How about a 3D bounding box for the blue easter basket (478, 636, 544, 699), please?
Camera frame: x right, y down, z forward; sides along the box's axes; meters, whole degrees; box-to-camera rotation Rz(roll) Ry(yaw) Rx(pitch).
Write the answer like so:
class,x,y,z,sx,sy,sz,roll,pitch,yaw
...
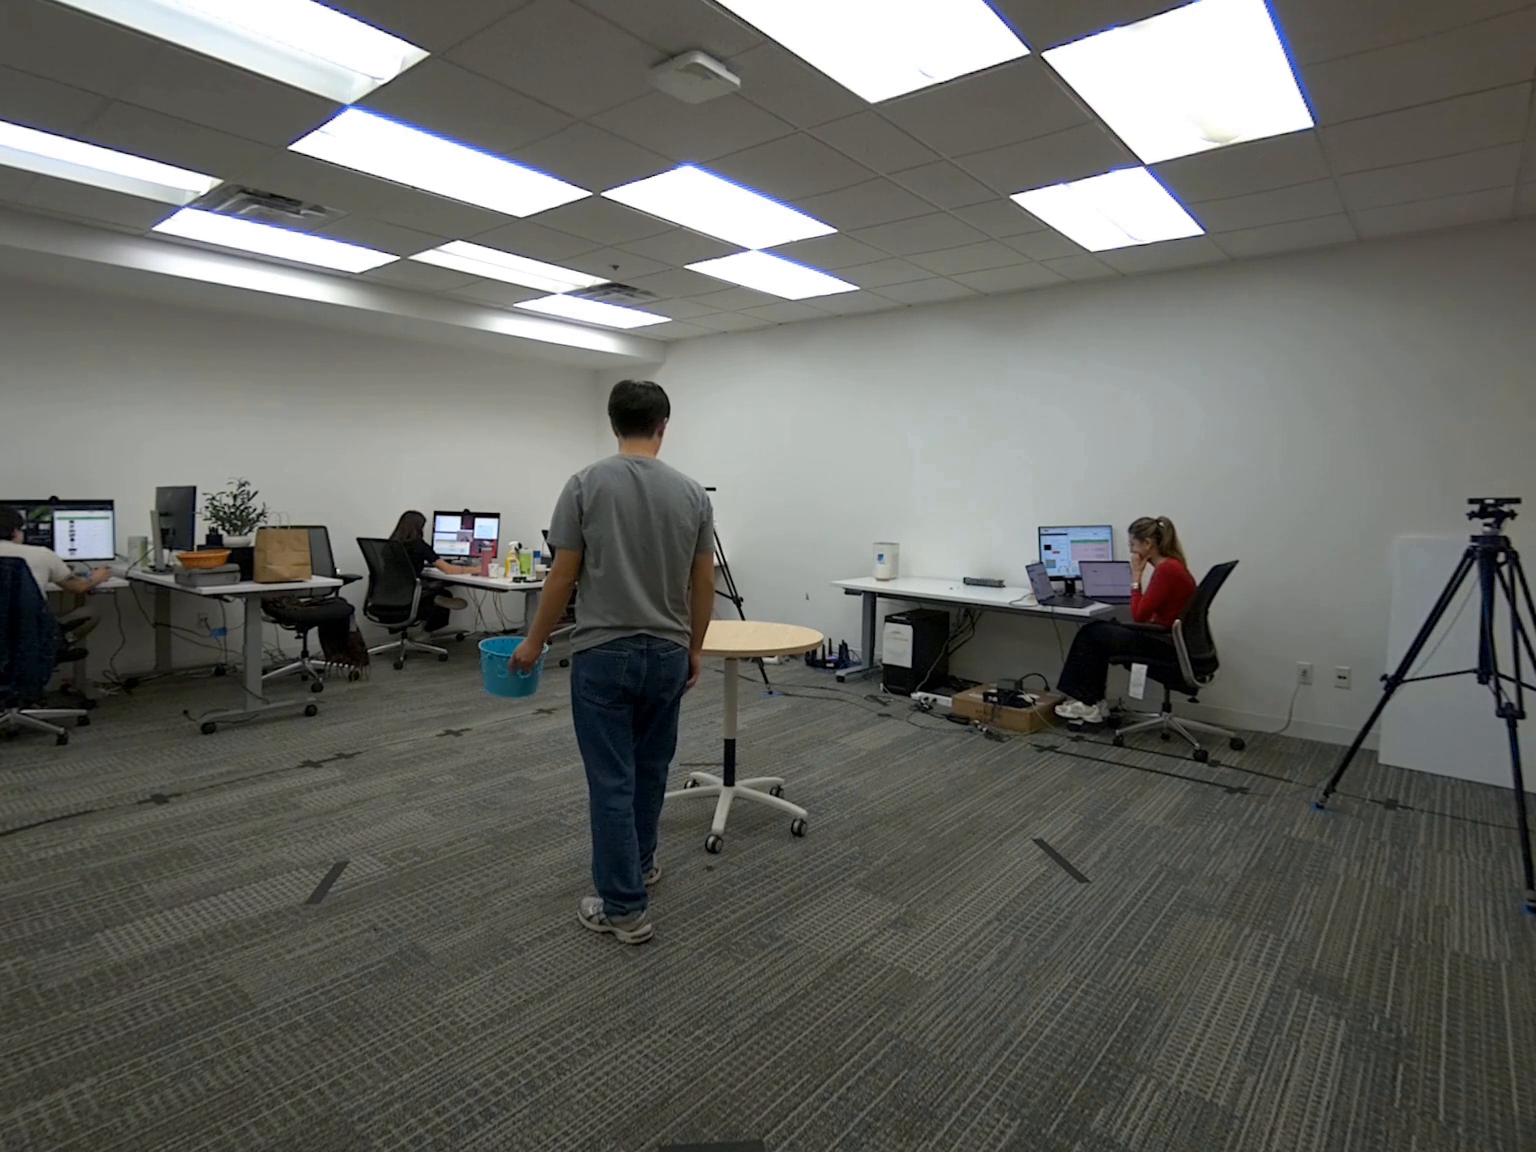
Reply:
class,x,y,z,sx,sy,sz,roll,pitch,yaw
blue easter basket,-0.891,0.307,2.907,0.243,0.154,0.246,5,10,-3
